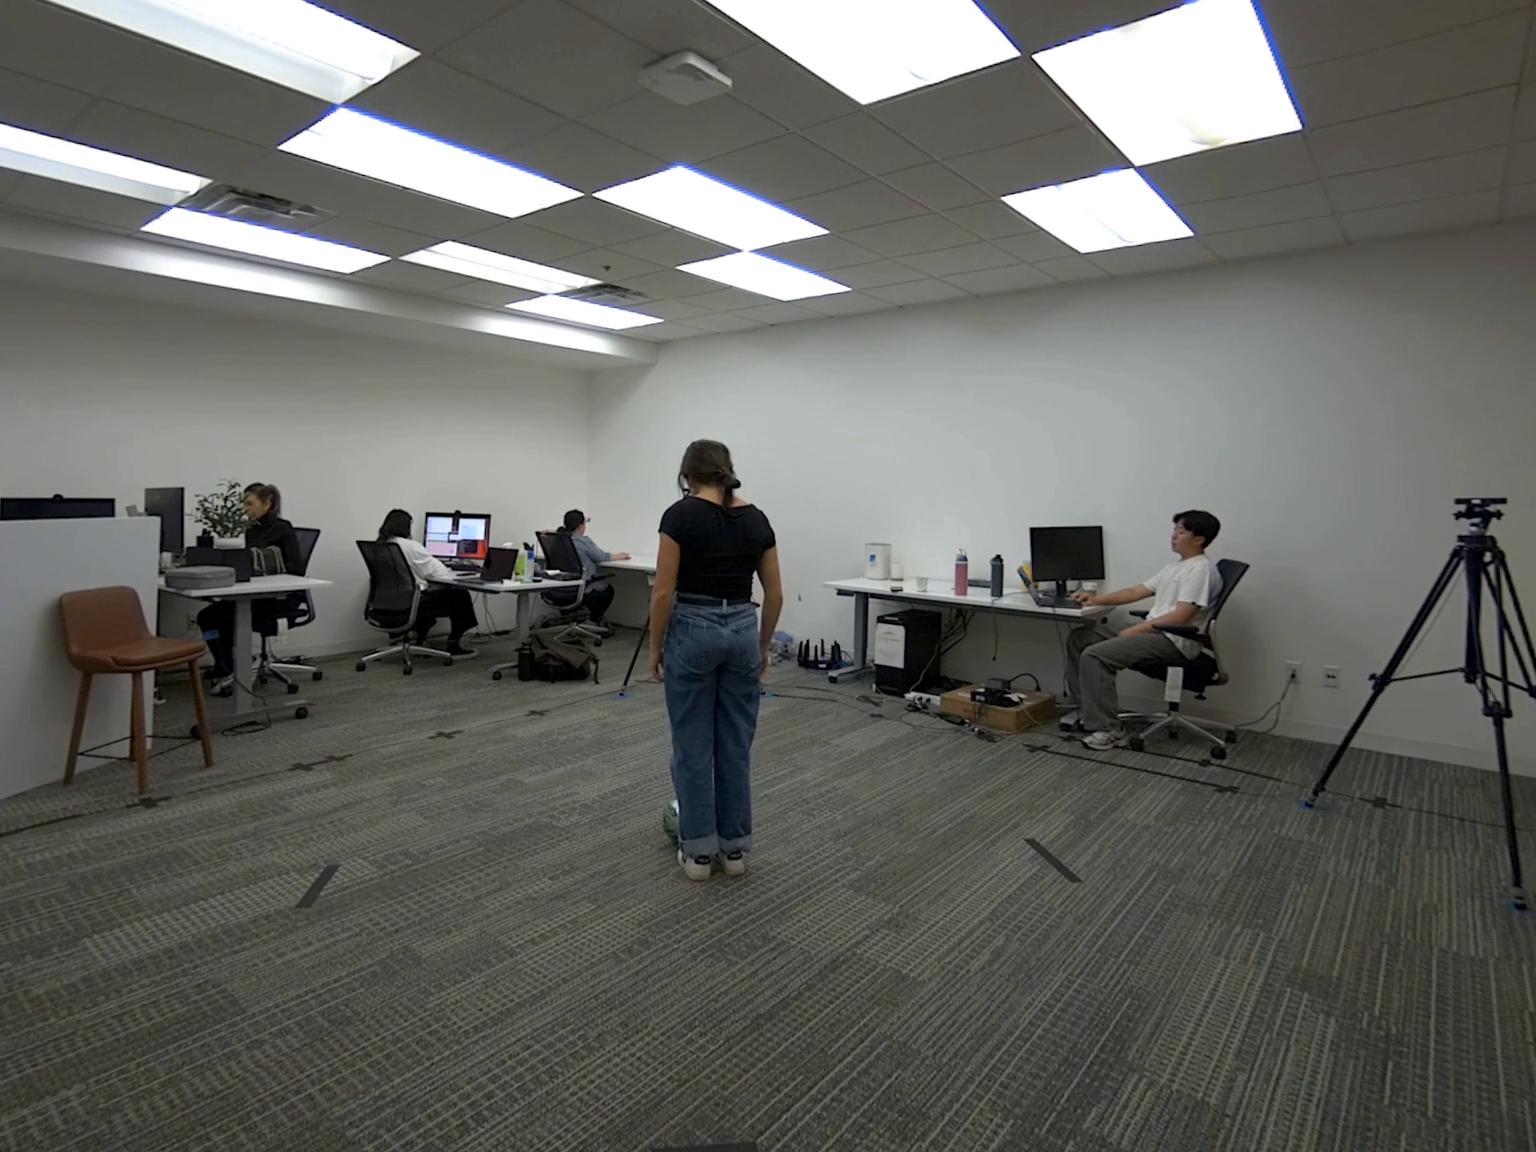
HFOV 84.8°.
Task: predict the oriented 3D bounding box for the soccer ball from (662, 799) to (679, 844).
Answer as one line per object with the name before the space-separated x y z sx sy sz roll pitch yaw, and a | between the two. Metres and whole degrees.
soccer ball | -0.309 0.945 3.335 0.187 0.187 0.188 1 4 -2
